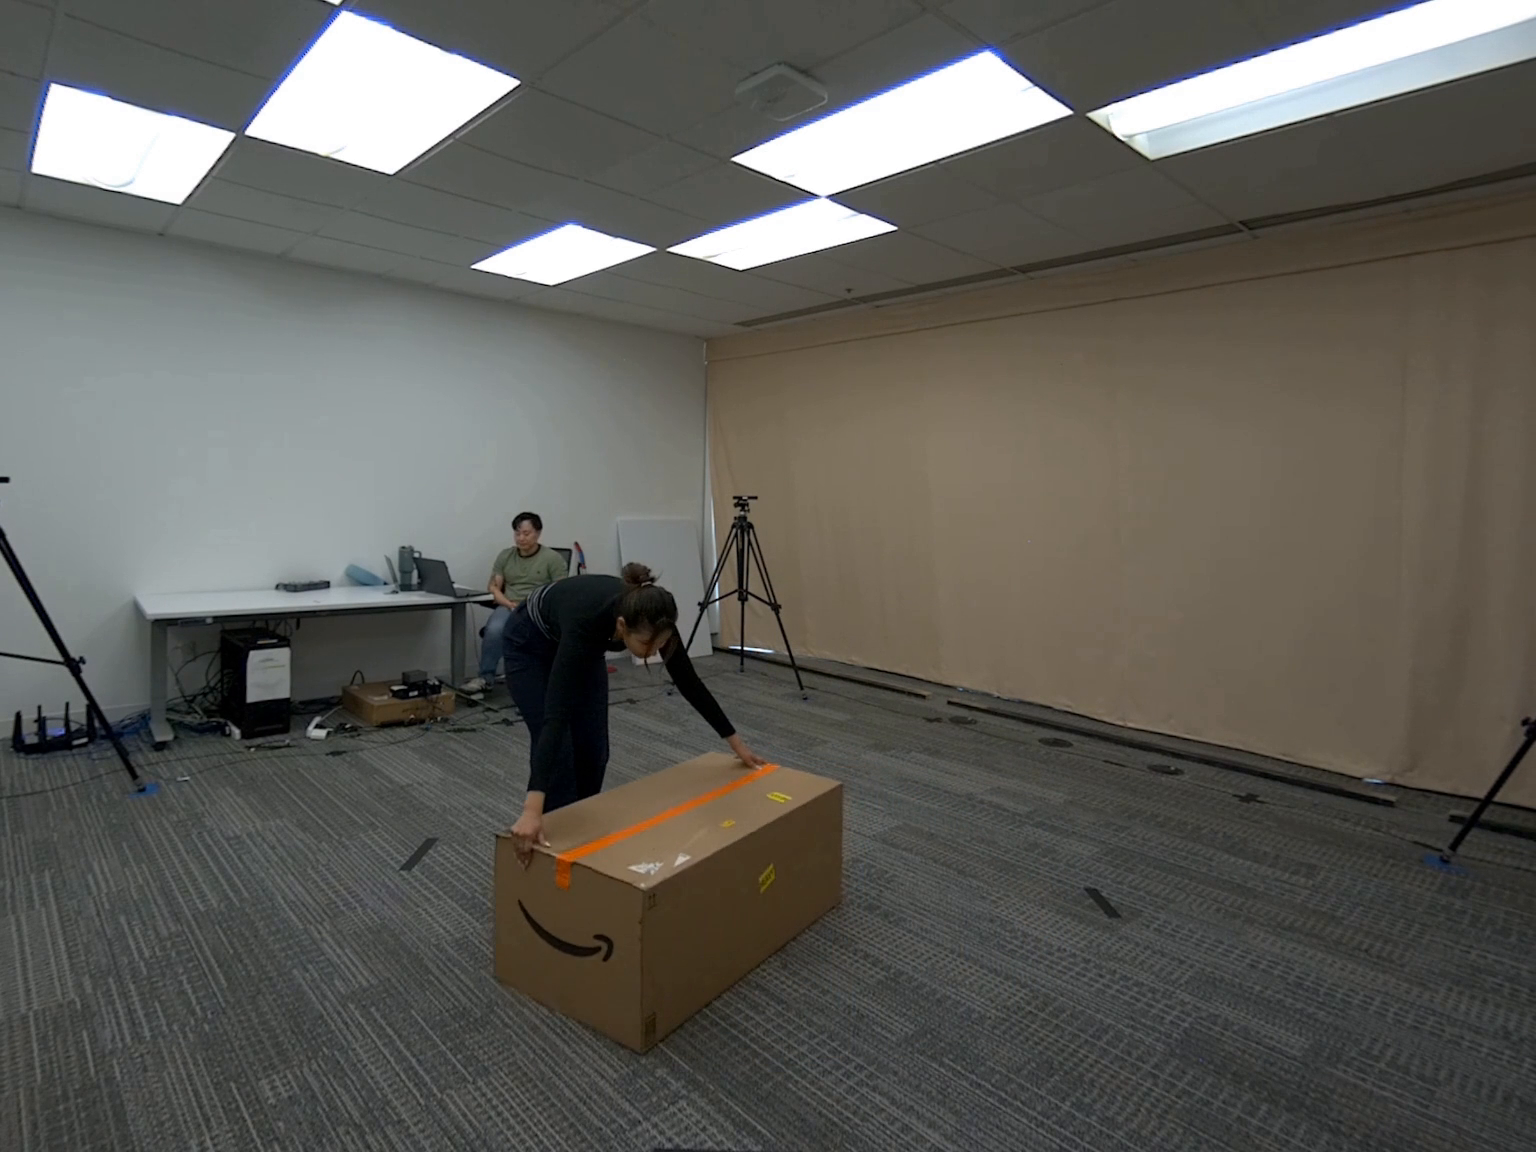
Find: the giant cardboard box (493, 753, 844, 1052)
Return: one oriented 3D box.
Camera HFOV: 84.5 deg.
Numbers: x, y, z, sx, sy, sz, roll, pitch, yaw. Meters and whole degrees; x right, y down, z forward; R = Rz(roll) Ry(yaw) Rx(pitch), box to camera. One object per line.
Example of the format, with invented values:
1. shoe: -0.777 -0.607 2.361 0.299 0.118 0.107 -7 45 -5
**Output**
1. giant cardboard box: -0.268 0.928 2.648 0.591 0.425 1.005 4 6 34
